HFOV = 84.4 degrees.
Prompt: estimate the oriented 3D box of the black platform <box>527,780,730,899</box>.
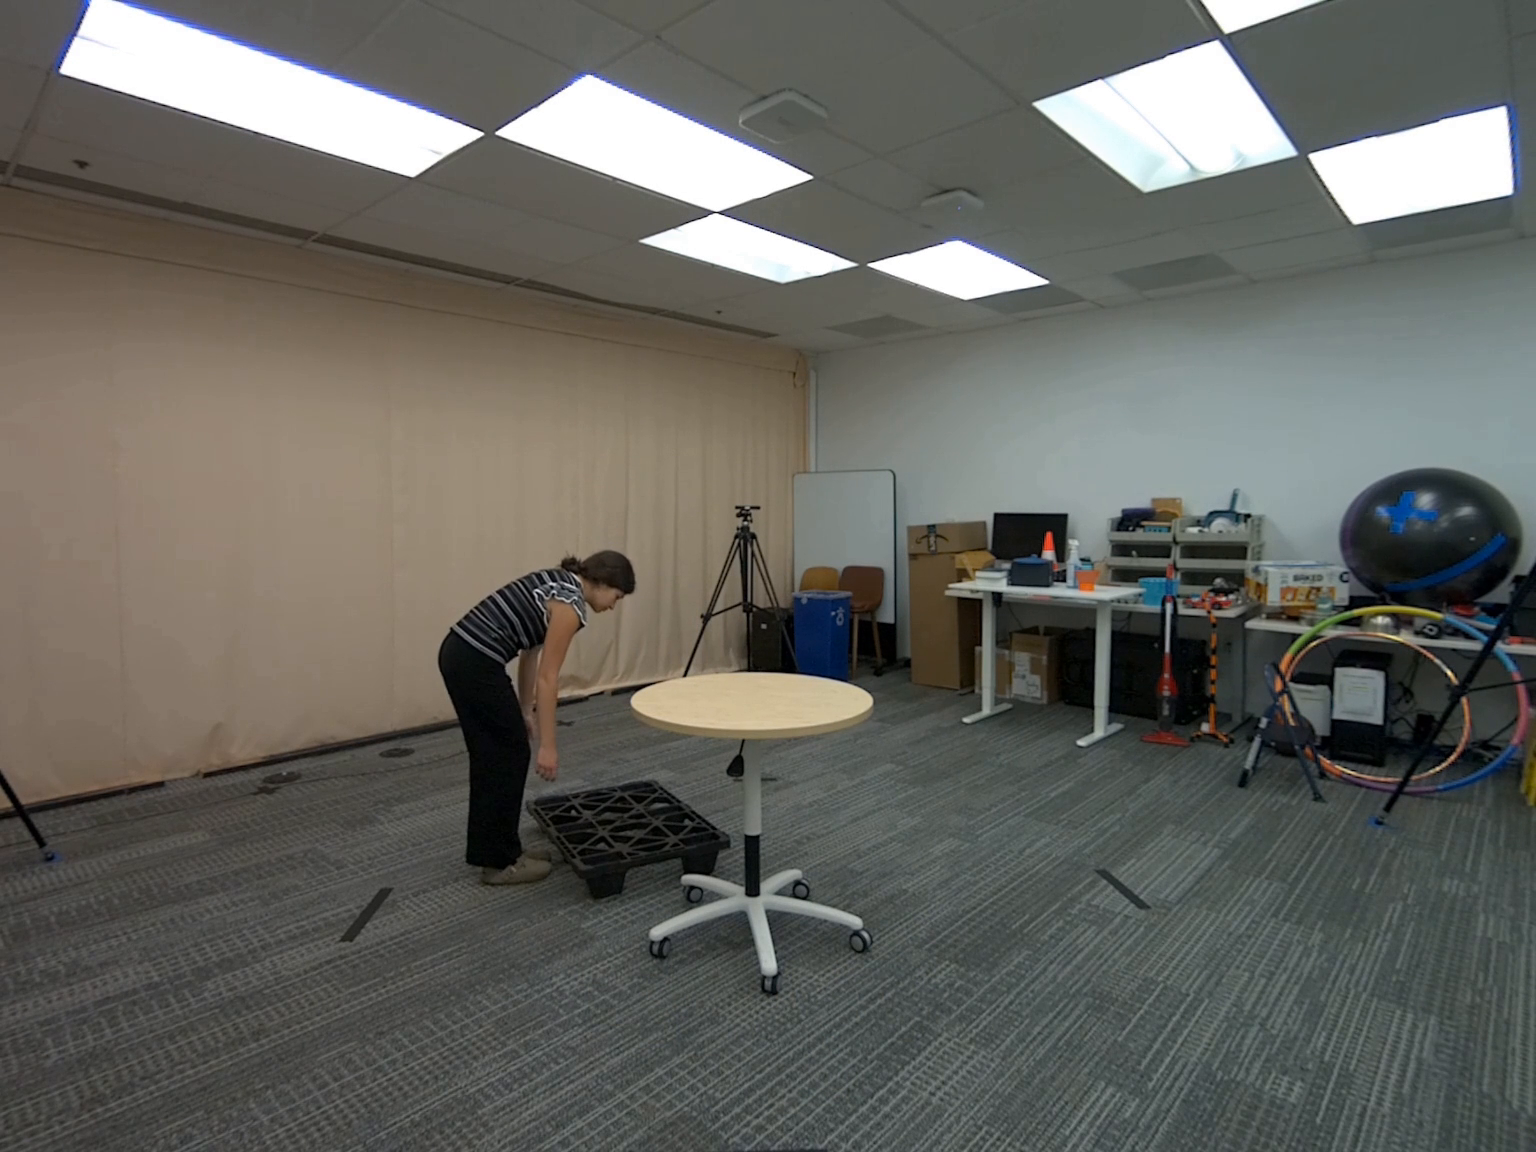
[{"bbox_3d":[-0.592,1.047,3.412,0.590,0.143,0.828,-2,5,-28],"label":"black platform"}]
